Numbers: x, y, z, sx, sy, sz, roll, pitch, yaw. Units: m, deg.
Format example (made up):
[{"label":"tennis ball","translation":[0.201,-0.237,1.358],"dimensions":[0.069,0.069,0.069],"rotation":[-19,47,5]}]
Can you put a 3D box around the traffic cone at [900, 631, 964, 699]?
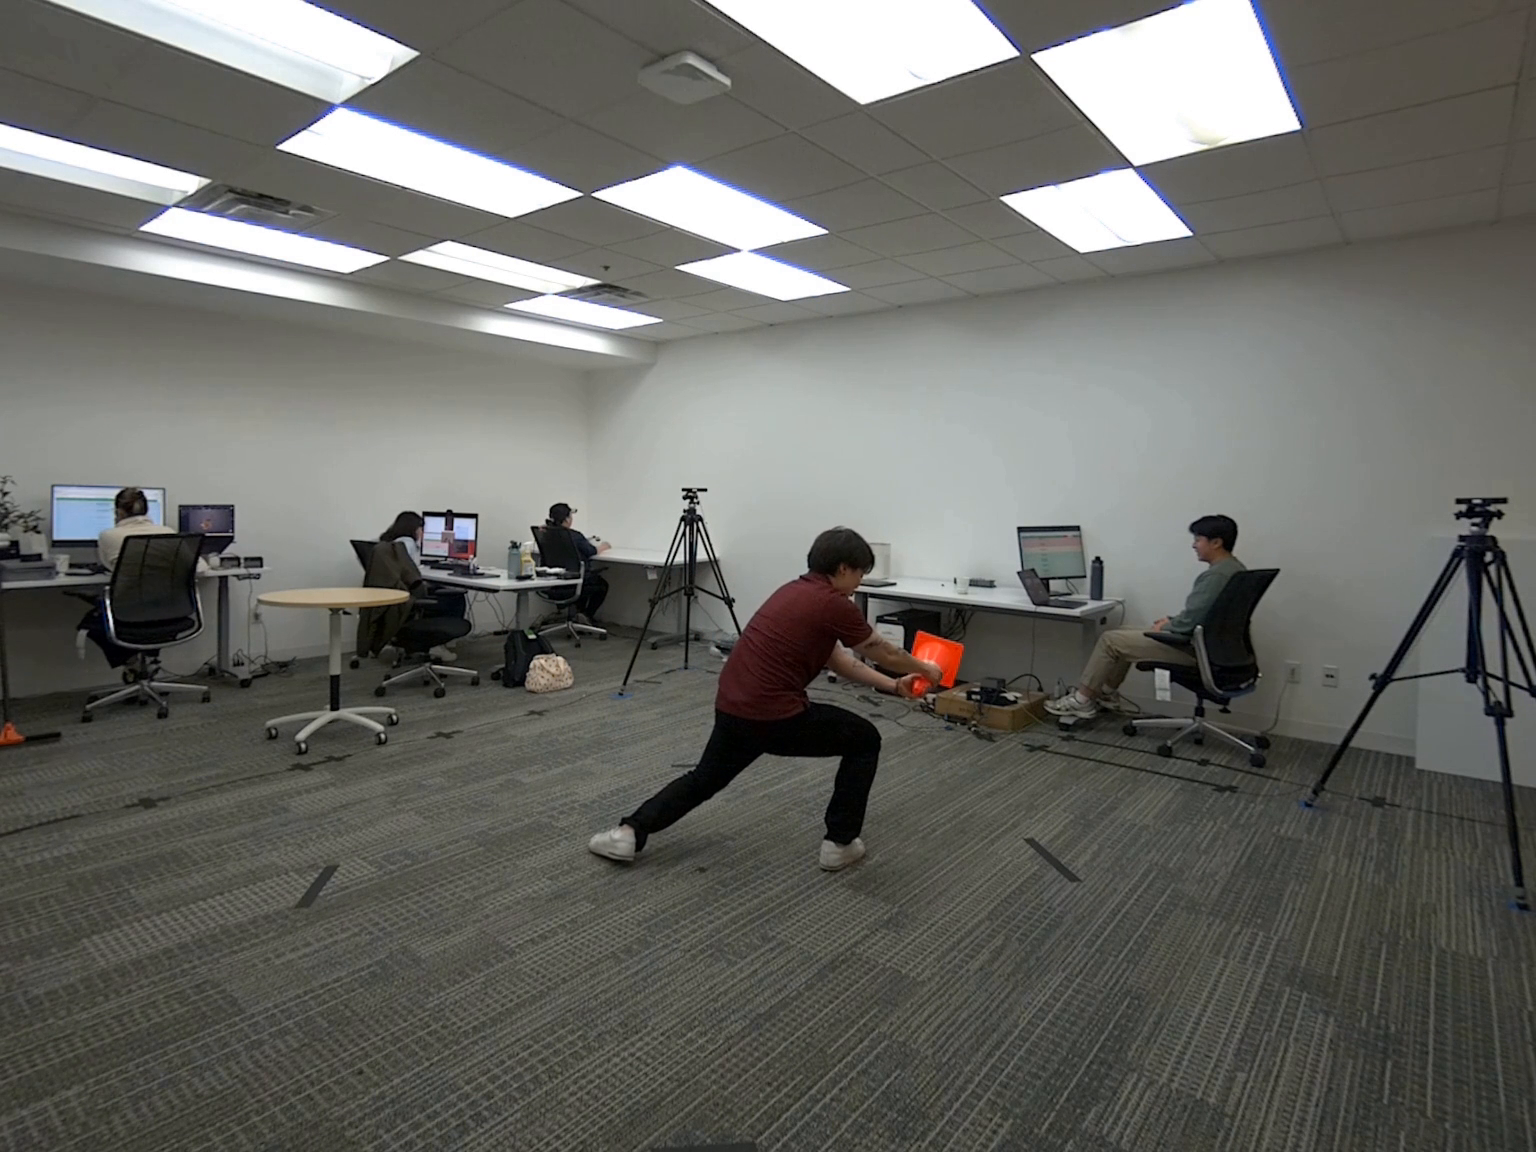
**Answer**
[{"label":"traffic cone","translation":[0.618,0.391,3.408],"dimensions":[0.210,0.201,0.380],"rotation":[17,20,17]}]
